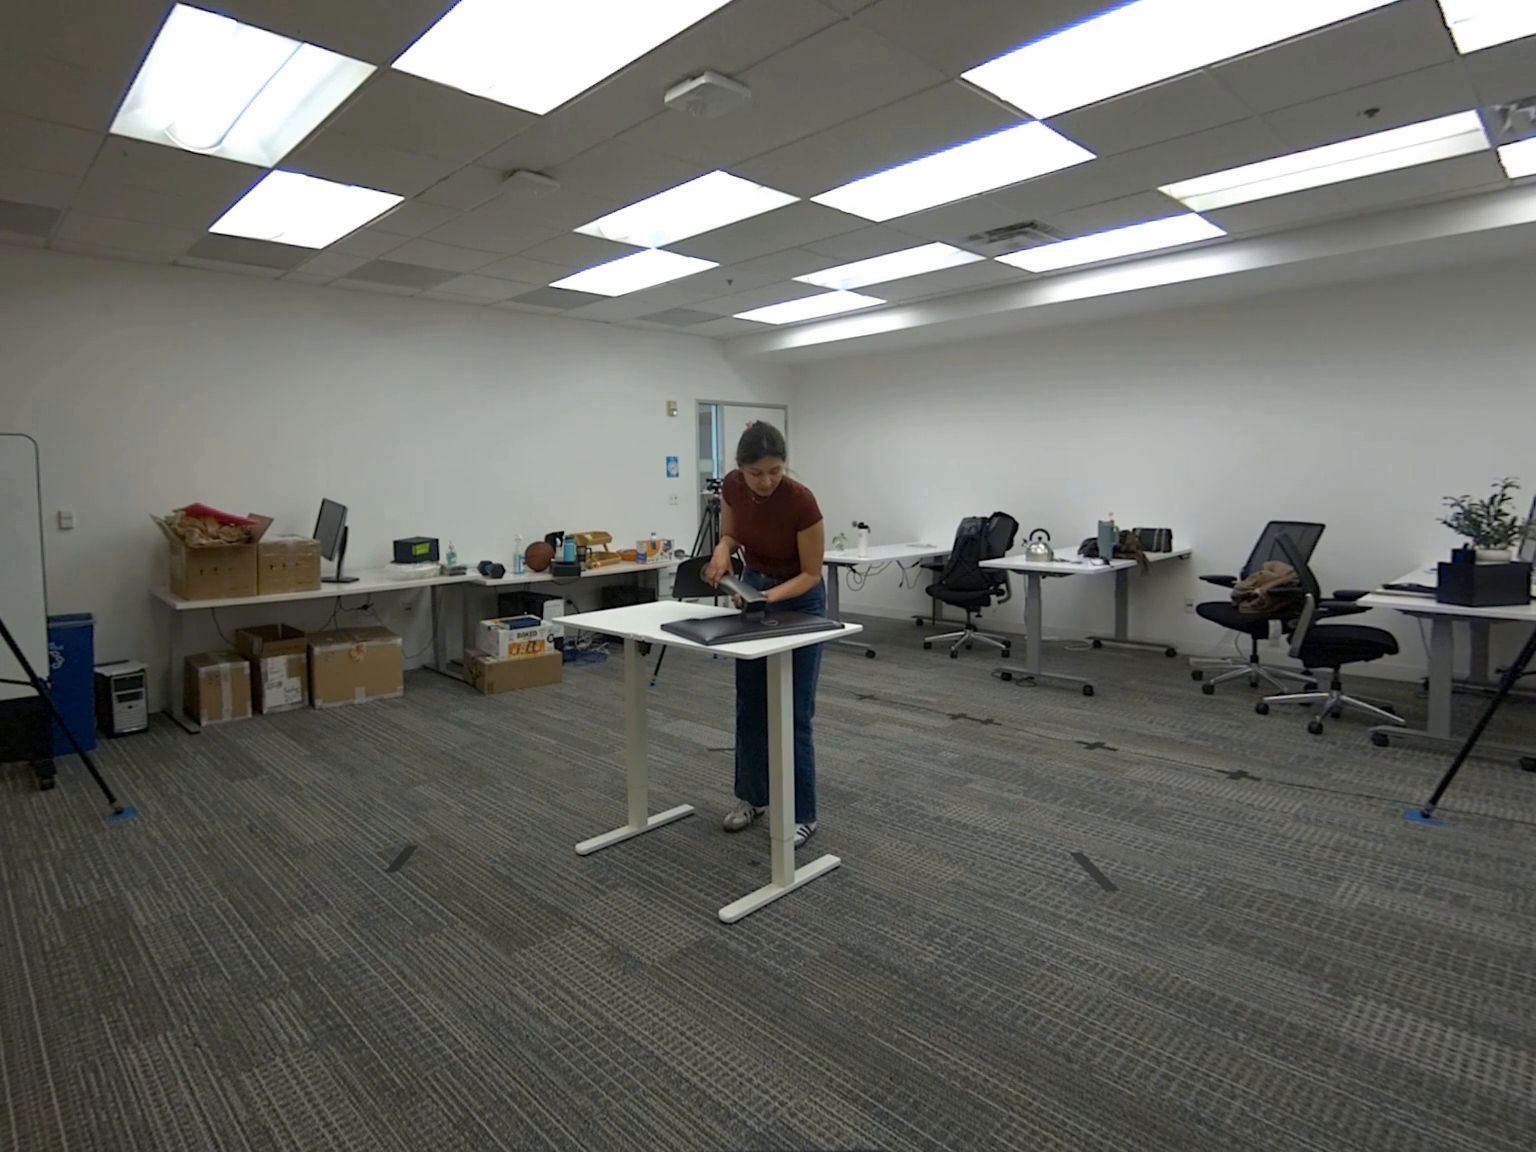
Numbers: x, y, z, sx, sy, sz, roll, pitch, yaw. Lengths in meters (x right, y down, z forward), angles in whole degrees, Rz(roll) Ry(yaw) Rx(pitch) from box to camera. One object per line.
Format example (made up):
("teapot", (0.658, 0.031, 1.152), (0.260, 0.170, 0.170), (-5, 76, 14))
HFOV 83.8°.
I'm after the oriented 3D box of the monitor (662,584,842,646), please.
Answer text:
("monitor", (-0.096, 0.106, 2.996), (0.527, 0.184, 0.542), (-6, 25, -29))
